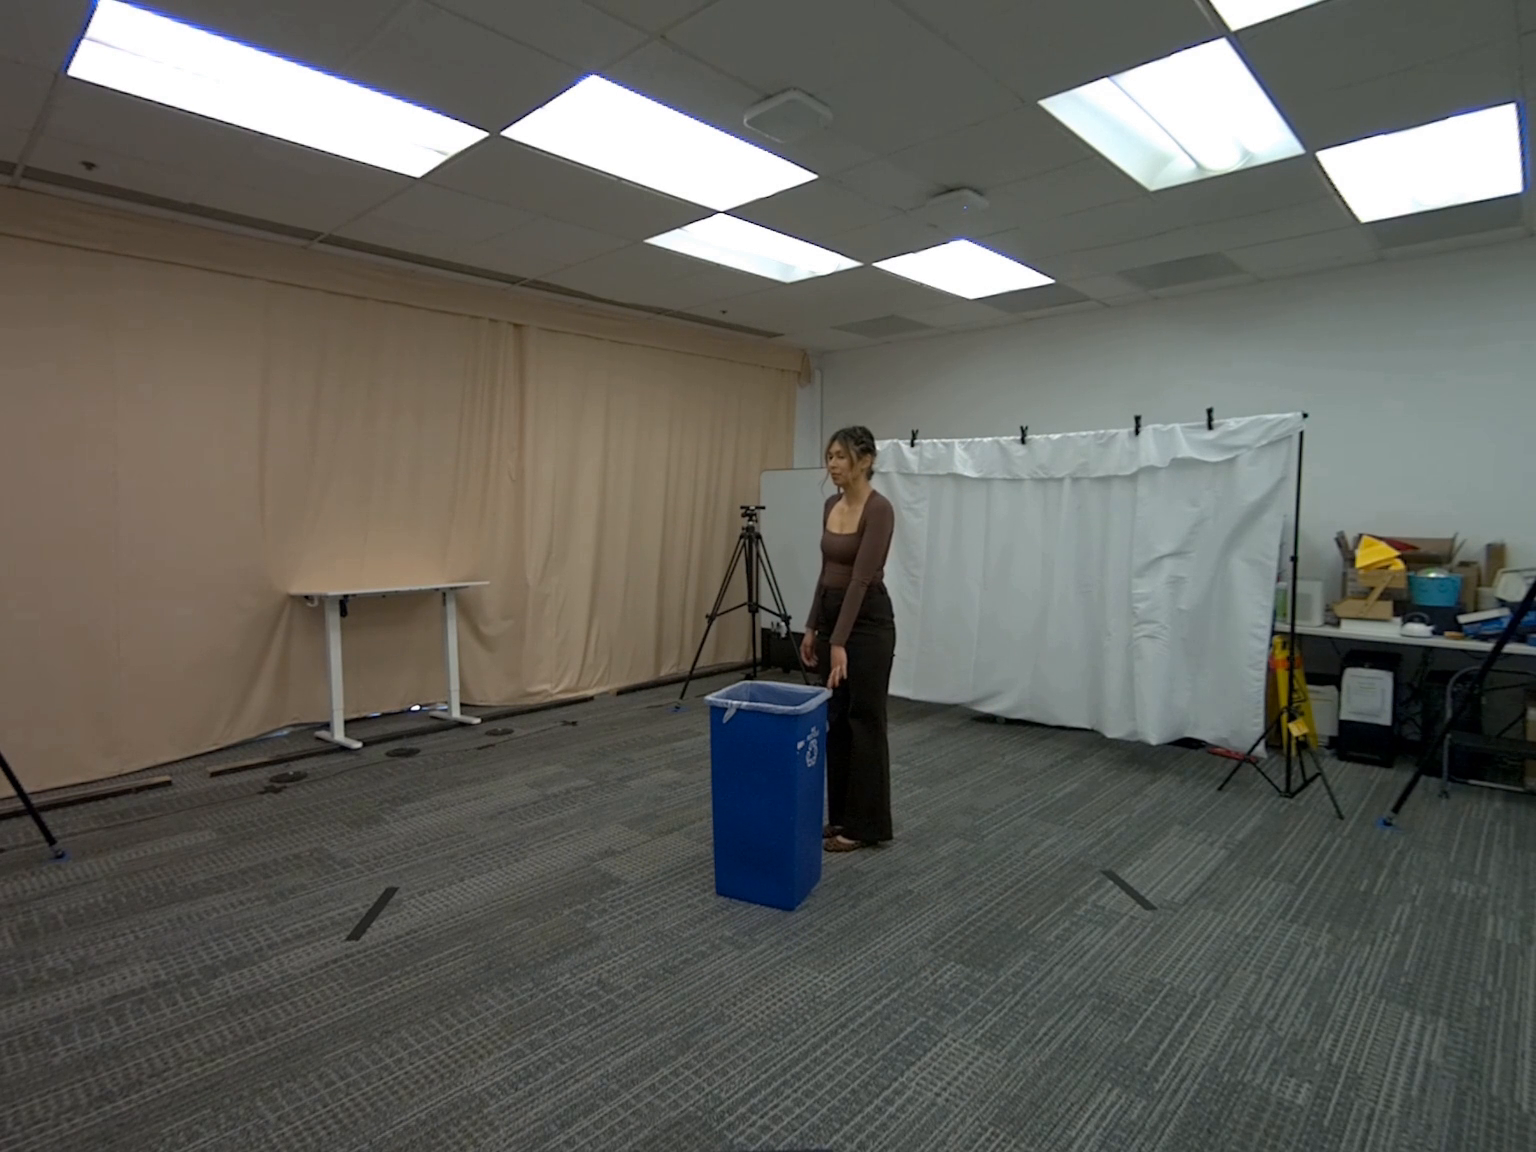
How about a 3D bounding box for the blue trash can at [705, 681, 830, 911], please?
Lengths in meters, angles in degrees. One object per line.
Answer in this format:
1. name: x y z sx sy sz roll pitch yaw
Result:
1. blue trash can: 0.007 0.779 3.070 0.388 0.712 0.365 2 4 25
